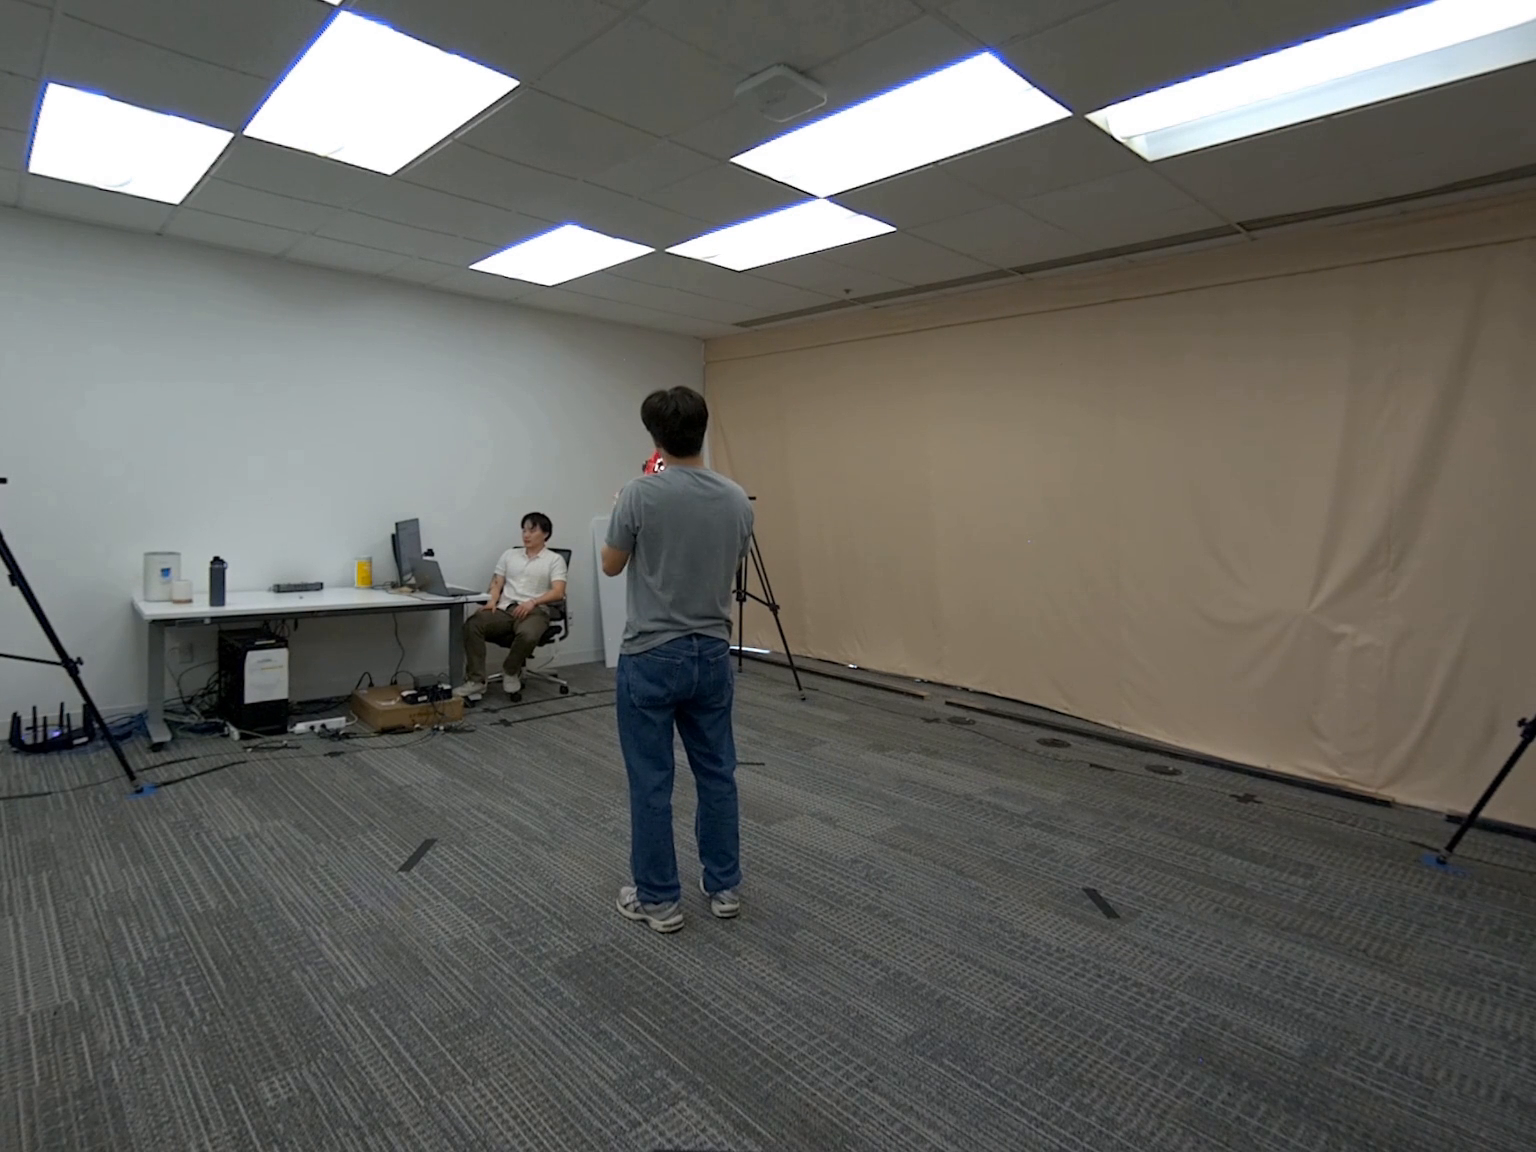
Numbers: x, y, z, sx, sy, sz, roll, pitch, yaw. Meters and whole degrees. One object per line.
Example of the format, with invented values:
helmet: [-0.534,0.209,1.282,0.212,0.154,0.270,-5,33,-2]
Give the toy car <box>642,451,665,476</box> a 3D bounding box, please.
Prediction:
toy car: [-0.419,-0.332,3.052,0.128,0.255,0.084,22,-5,-19]
